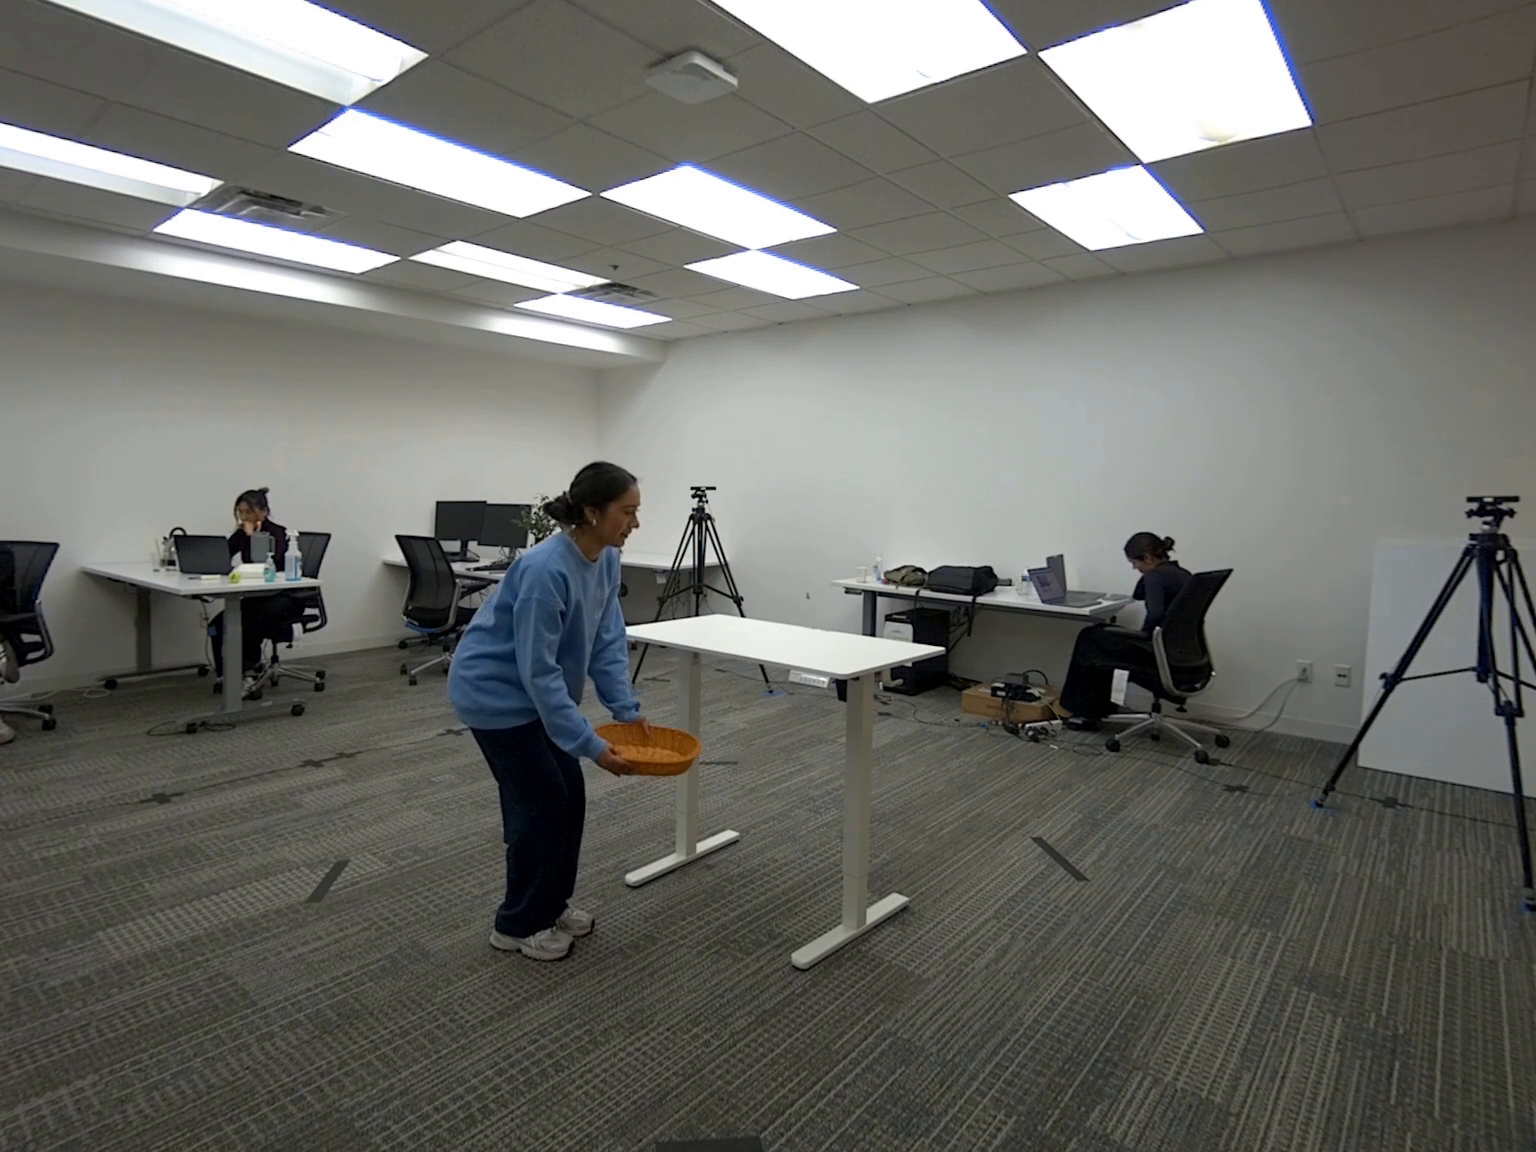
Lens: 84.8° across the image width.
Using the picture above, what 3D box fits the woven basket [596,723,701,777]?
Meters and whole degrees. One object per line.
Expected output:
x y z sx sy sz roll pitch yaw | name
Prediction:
-0.371 0.525 2.509 0.344 0.073 0.259 2 13 -16 | woven basket
